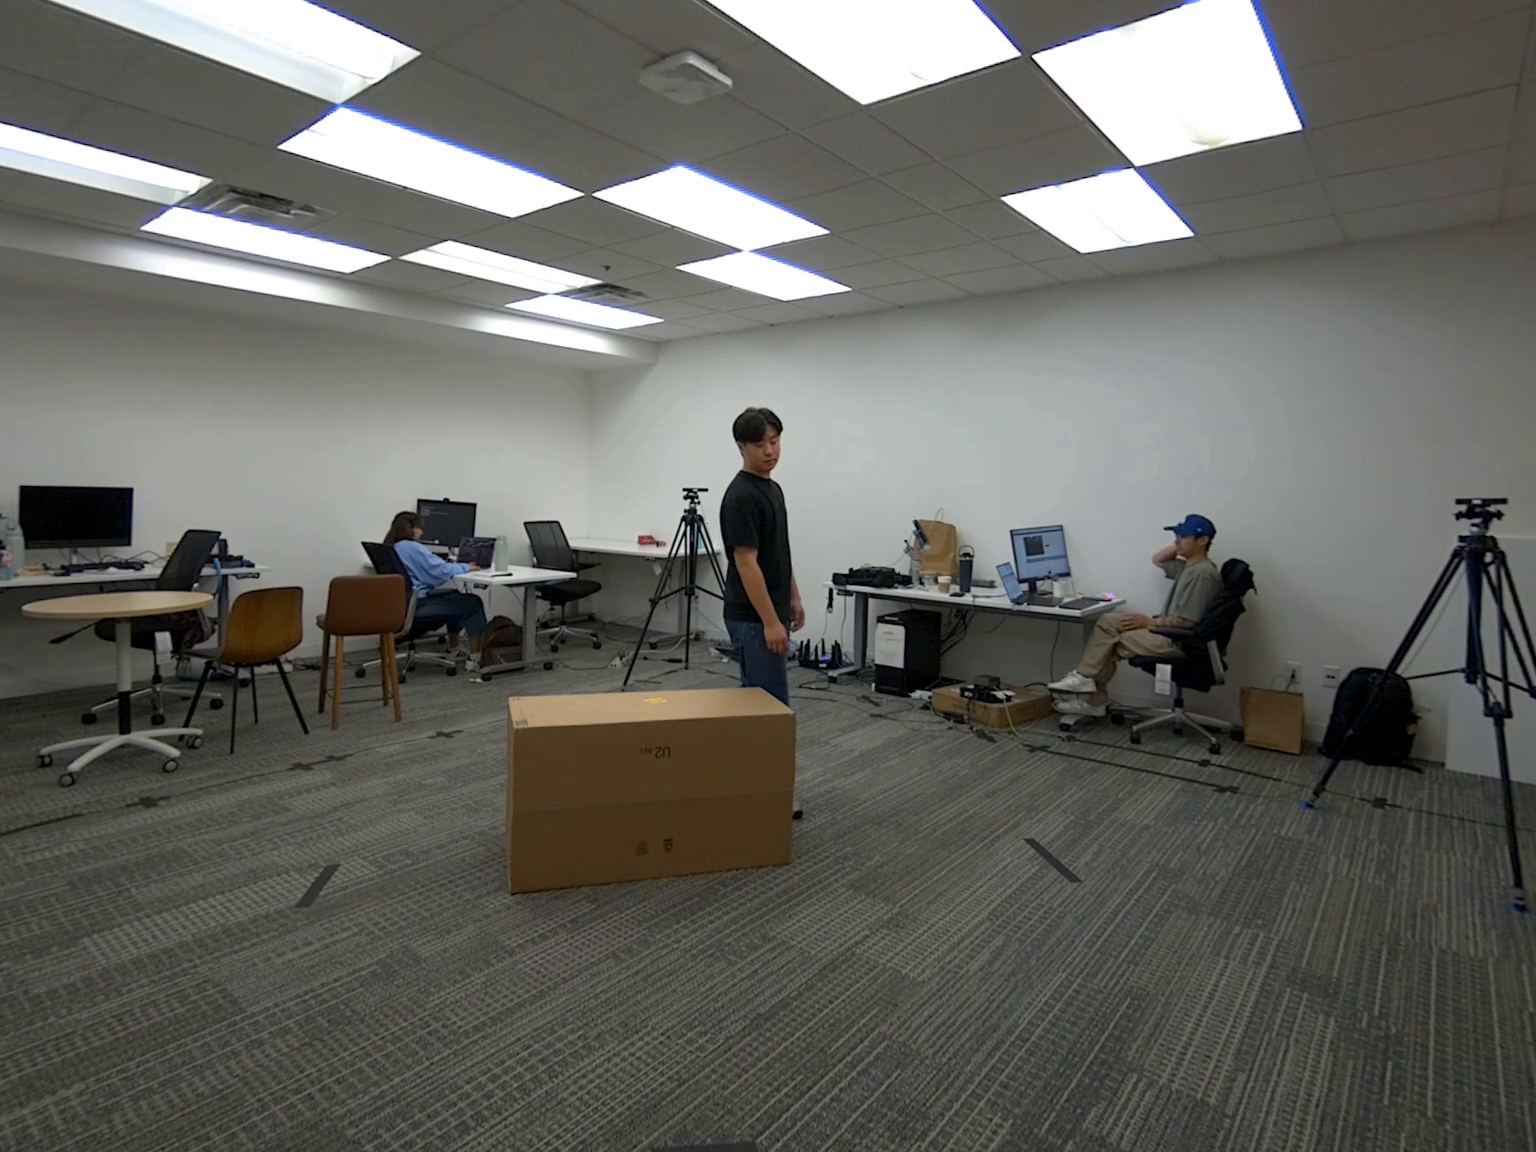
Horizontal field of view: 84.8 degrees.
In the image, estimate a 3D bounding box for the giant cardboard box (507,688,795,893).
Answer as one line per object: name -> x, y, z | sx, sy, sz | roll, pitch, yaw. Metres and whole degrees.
giant cardboard box -> -0.465, 0.766, 3.211 | 1.008, 0.583, 0.456 | 0, 3, -18
